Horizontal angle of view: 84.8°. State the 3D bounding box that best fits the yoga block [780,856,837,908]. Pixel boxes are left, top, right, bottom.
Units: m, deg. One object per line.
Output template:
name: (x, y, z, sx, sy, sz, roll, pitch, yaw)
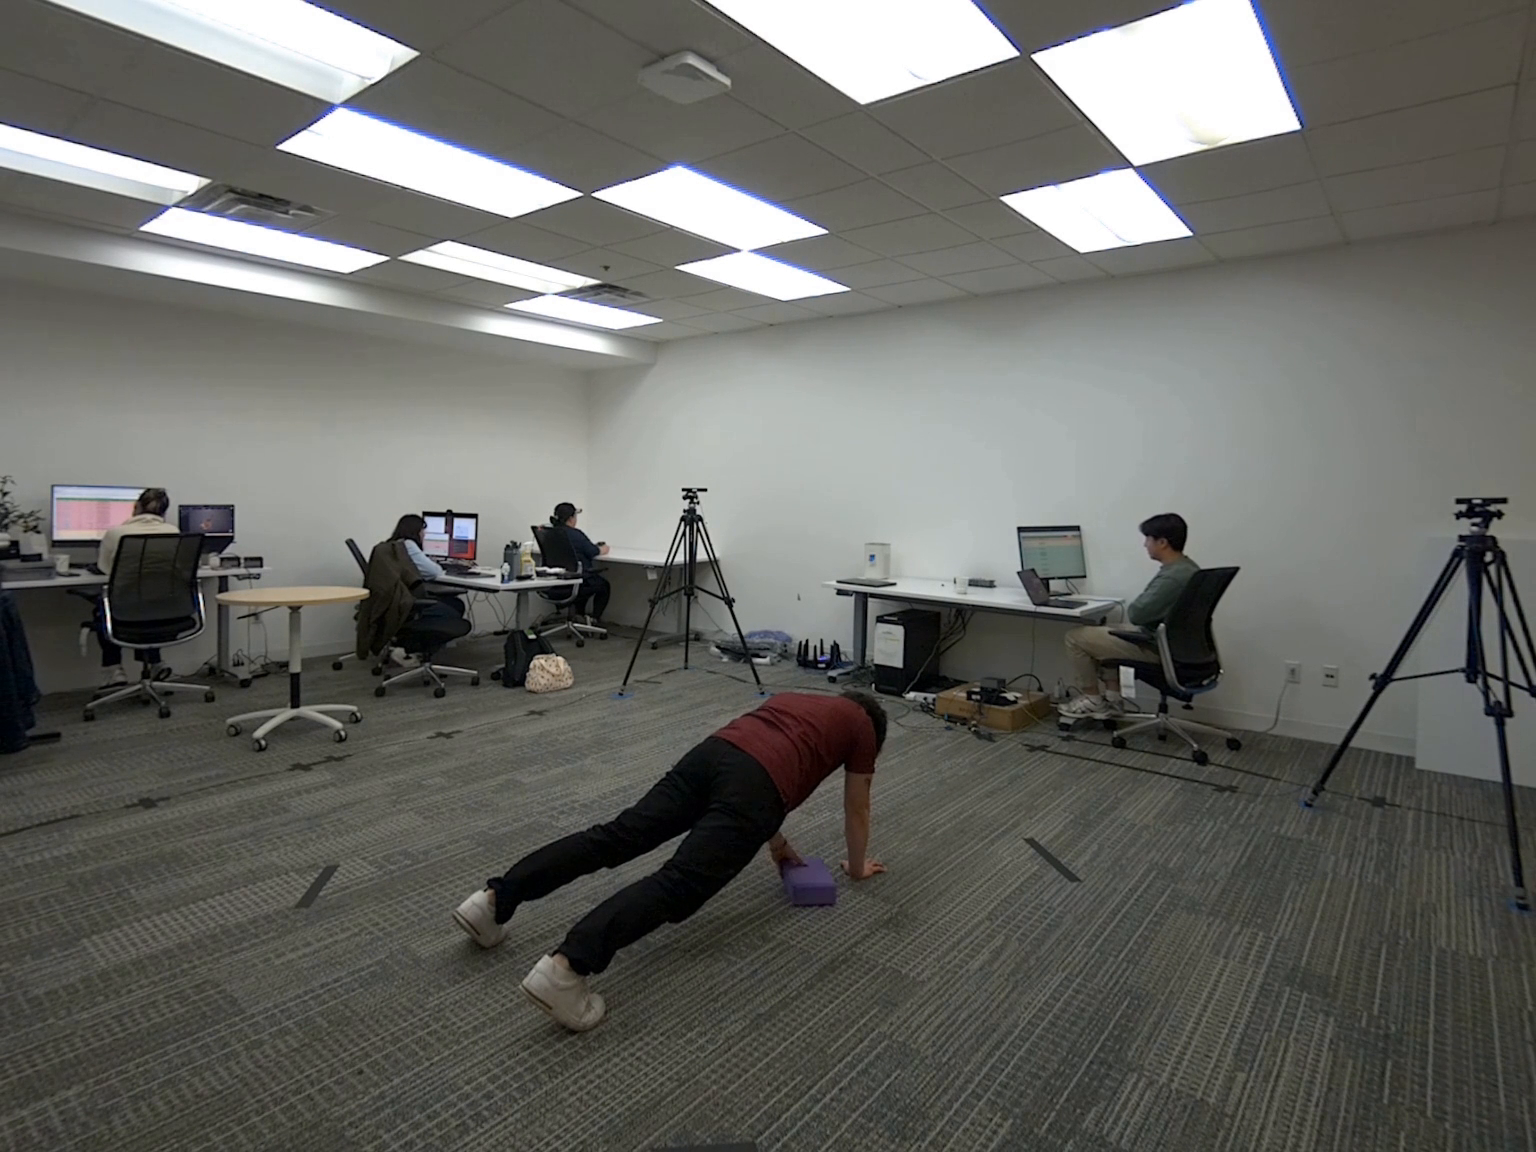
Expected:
yoga block: (0.119, 1.050, 2.959, 0.148, 0.076, 0.232, 1, 4, -8)
